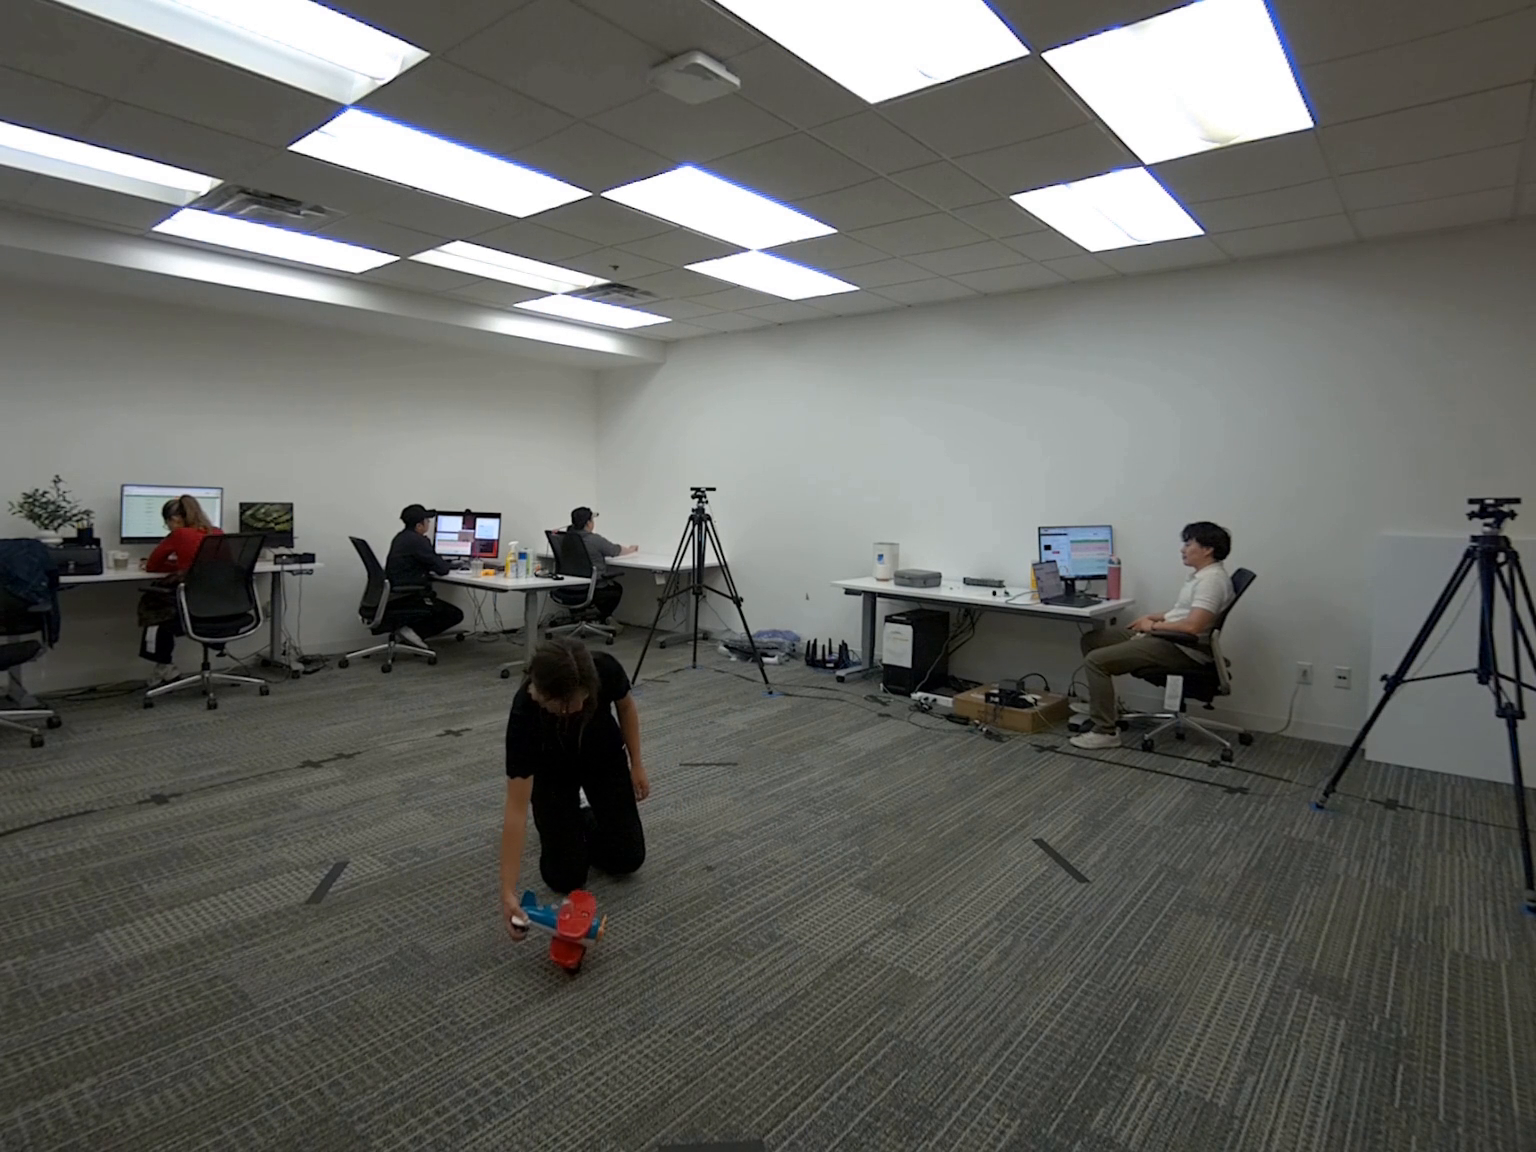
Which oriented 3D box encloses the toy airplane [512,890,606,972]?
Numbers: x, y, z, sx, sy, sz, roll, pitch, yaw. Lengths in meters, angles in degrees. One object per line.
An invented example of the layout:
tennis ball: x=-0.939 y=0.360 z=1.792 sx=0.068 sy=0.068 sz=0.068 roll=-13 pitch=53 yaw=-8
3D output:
toy airplane: x=-0.615 y=1.019 z=2.447 sx=0.250 sy=0.156 sz=0.260 roll=29 pitch=4 yaw=-31
